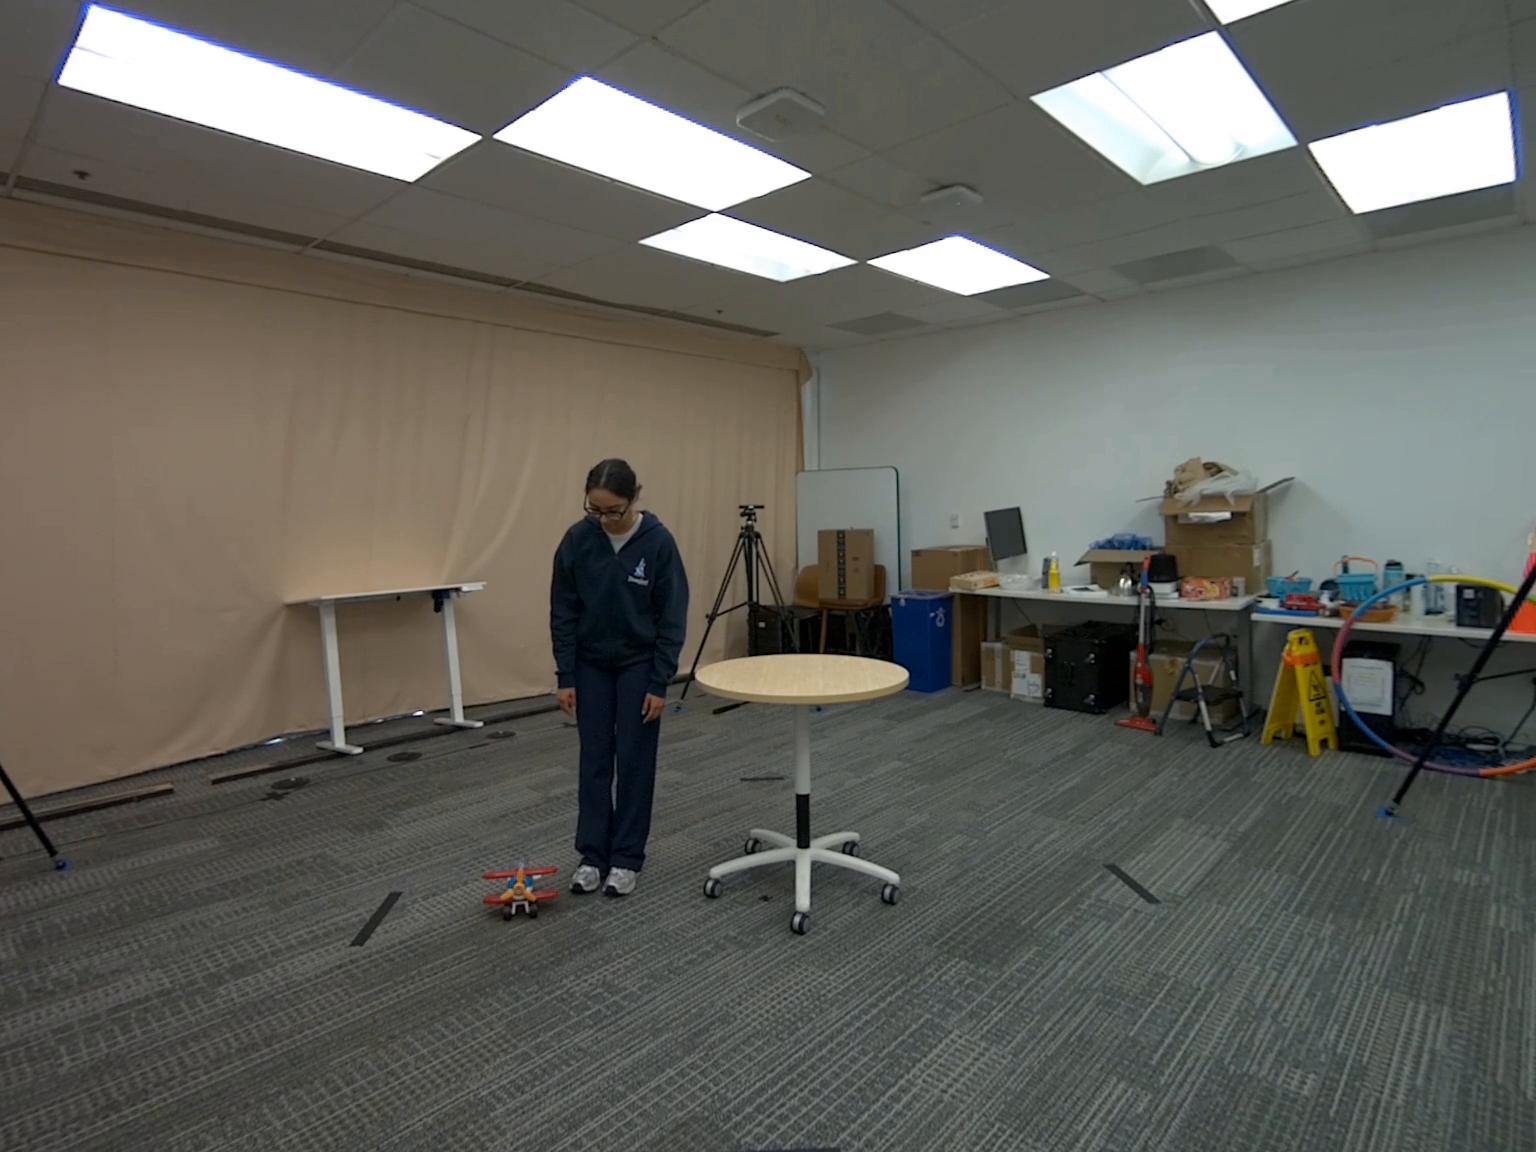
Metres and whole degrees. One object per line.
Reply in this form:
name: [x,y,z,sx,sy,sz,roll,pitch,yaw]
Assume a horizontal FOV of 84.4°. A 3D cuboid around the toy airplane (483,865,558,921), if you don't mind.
toy airplane: [-0.889,1.092,2.954,0.243,0.156,0.267,-3,4,-38]
